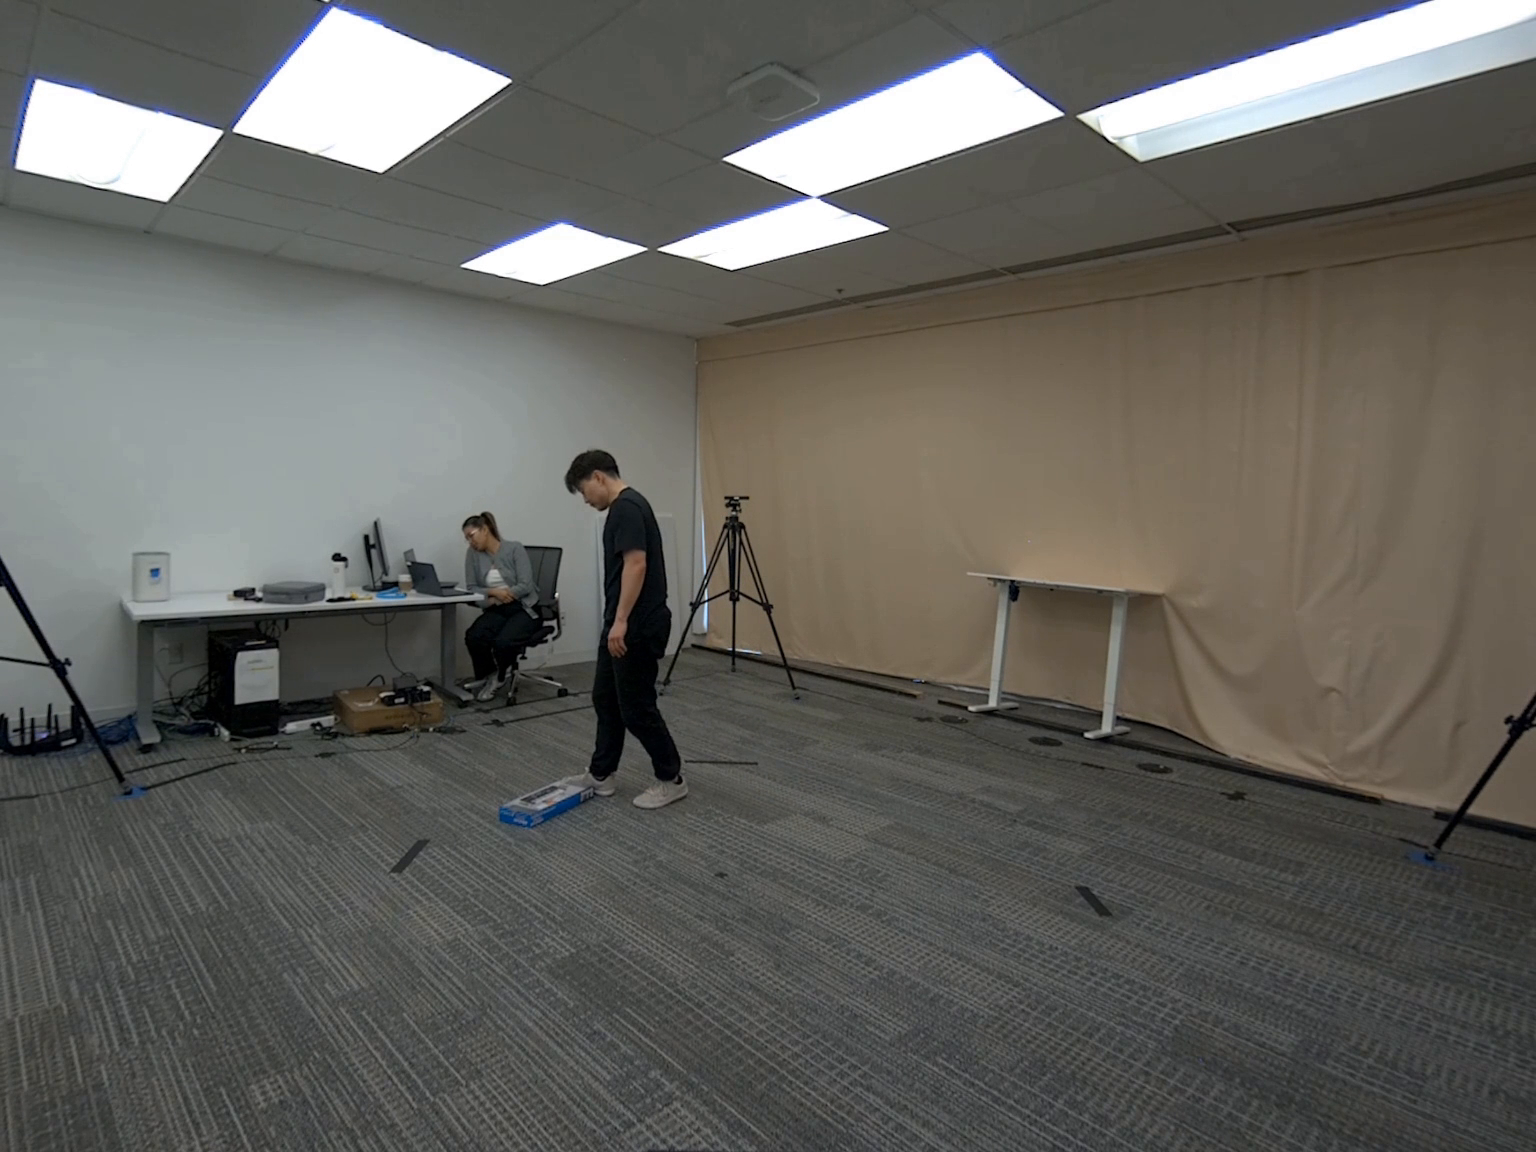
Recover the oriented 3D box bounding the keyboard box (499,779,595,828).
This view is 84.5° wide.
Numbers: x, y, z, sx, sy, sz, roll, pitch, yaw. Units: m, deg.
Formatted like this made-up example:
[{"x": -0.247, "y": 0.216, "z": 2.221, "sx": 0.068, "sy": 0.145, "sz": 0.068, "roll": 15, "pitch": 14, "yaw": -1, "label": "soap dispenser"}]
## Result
[{"x": -0.977, "y": 1.001, "z": 3.721, "sx": 0.179, "sy": 0.059, "sz": 0.429, "roll": 4, "pitch": 6, "yaw": 26, "label": "keyboard box"}]
